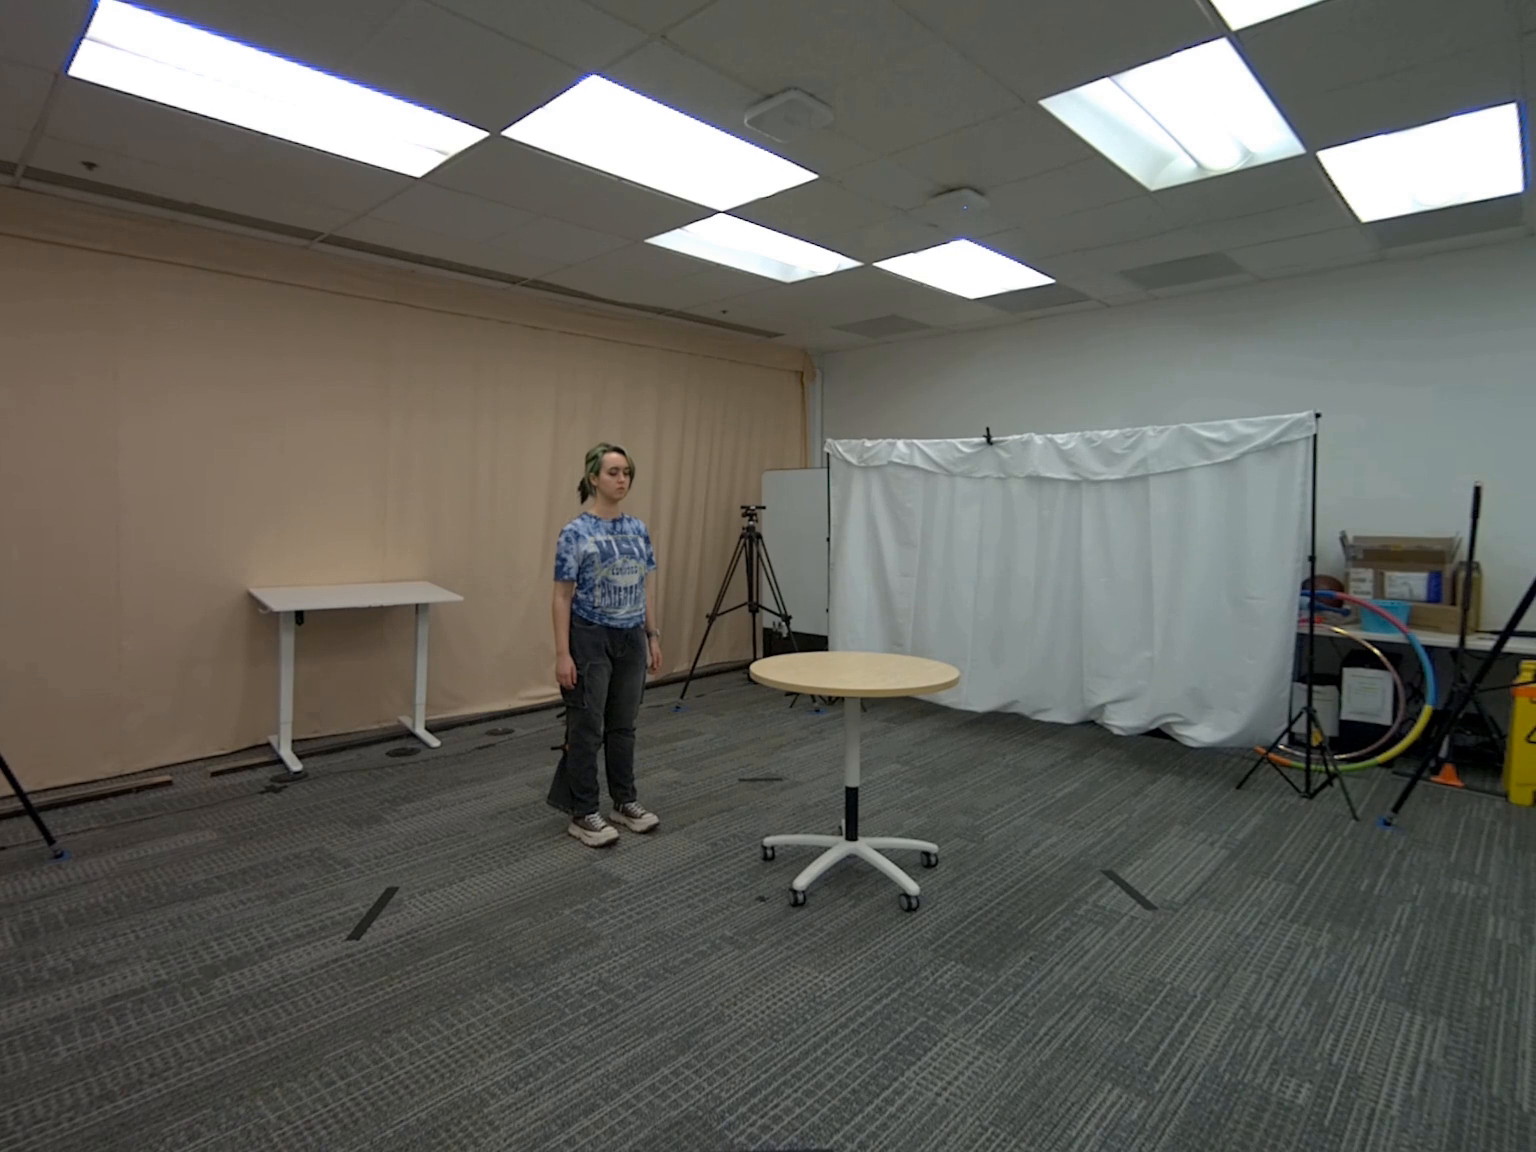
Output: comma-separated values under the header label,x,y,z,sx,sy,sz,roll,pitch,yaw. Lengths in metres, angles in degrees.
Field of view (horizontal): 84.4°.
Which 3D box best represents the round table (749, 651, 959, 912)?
label,x,y,z,sx,sy,sz,roll,pitch,yaw
round table,0.311,0.738,3.145,0.763,0.792,0.766,0,3,-2
